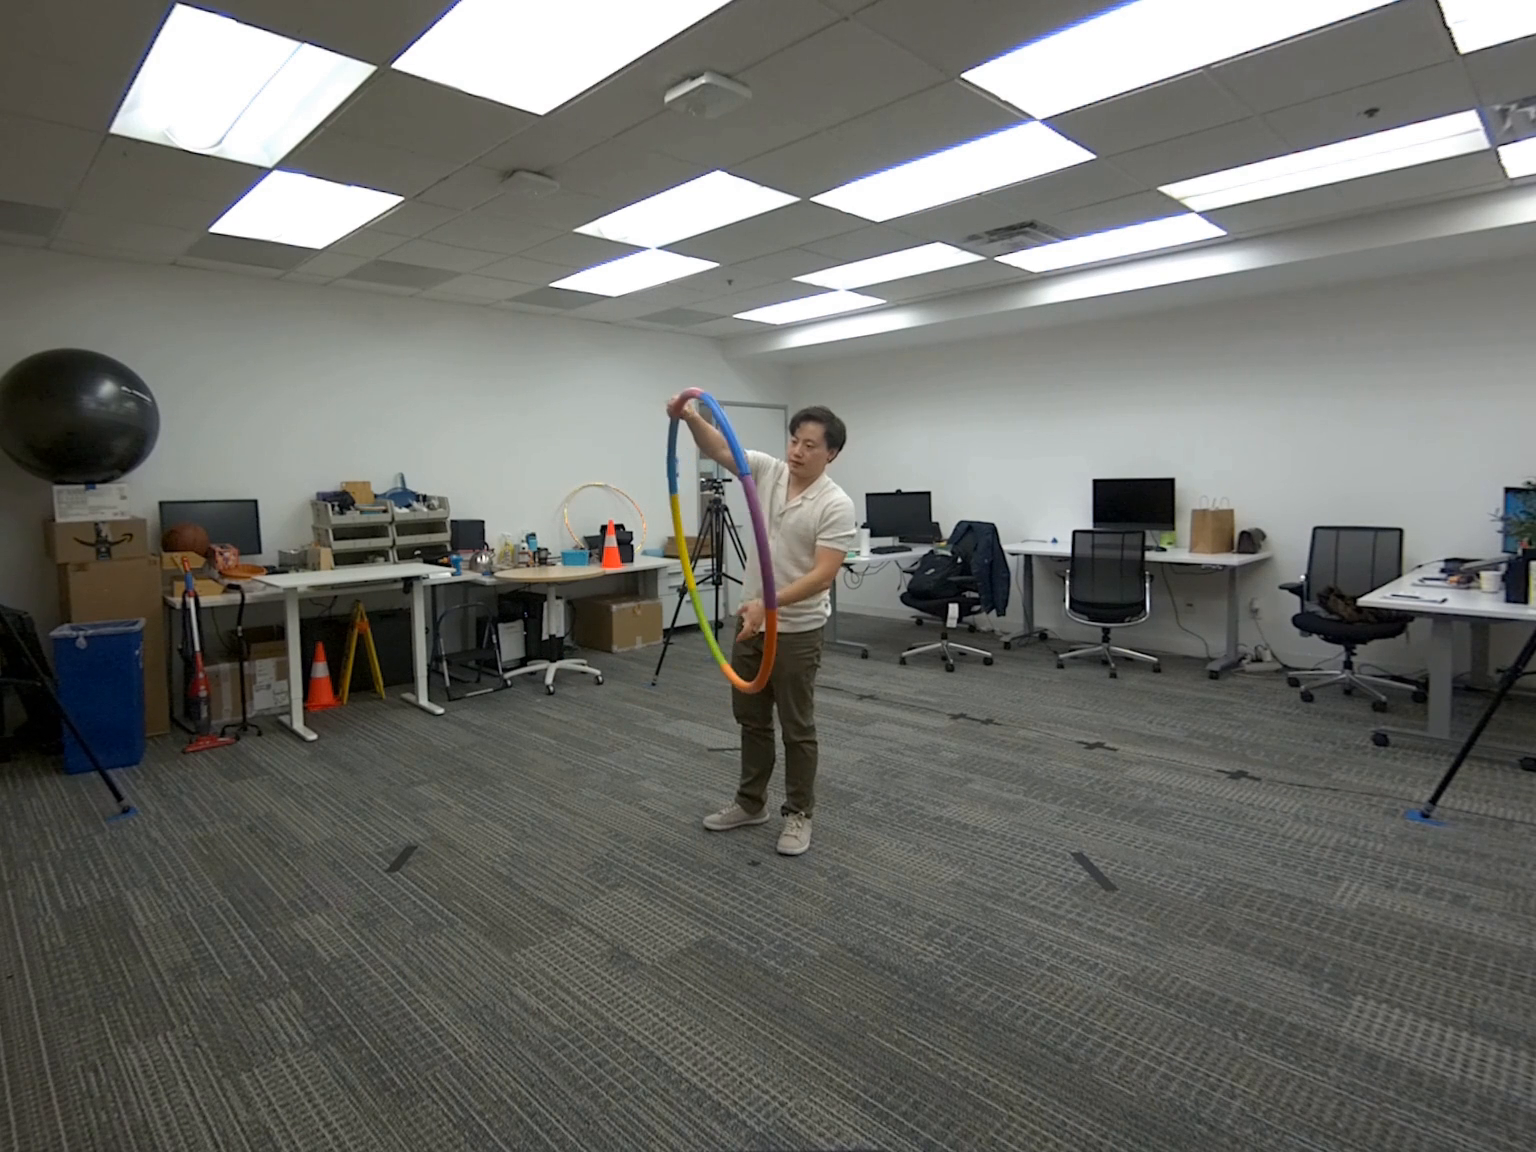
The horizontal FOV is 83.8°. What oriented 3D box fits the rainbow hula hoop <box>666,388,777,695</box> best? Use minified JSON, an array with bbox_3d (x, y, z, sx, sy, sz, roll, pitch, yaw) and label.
[{"bbox_3d":[-0.176,-0.108,2.774,0.035,0.972,0.998,-11,8,-17],"label":"rainbow hula hoop"}]
